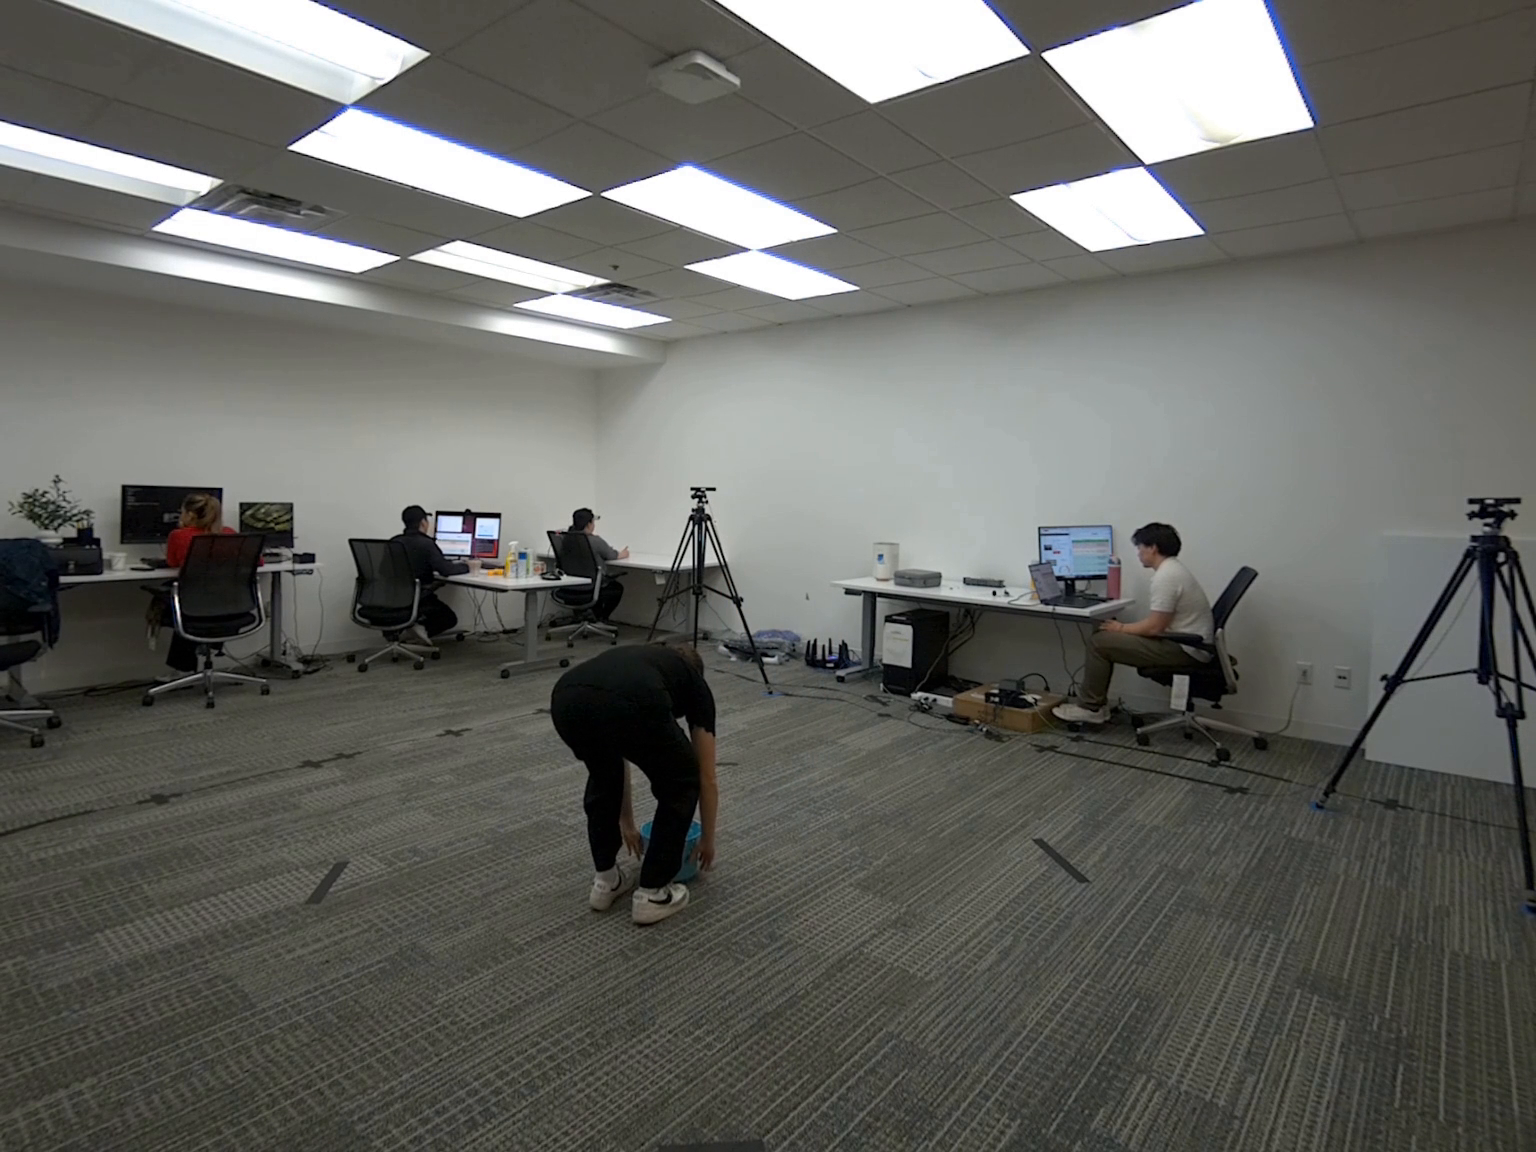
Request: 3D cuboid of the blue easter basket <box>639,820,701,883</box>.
[{"bbox_3d":[-0.353,0.985,3.071,0.243,0.155,0.245,0,5,-2],"label":"blue easter basket"}]
